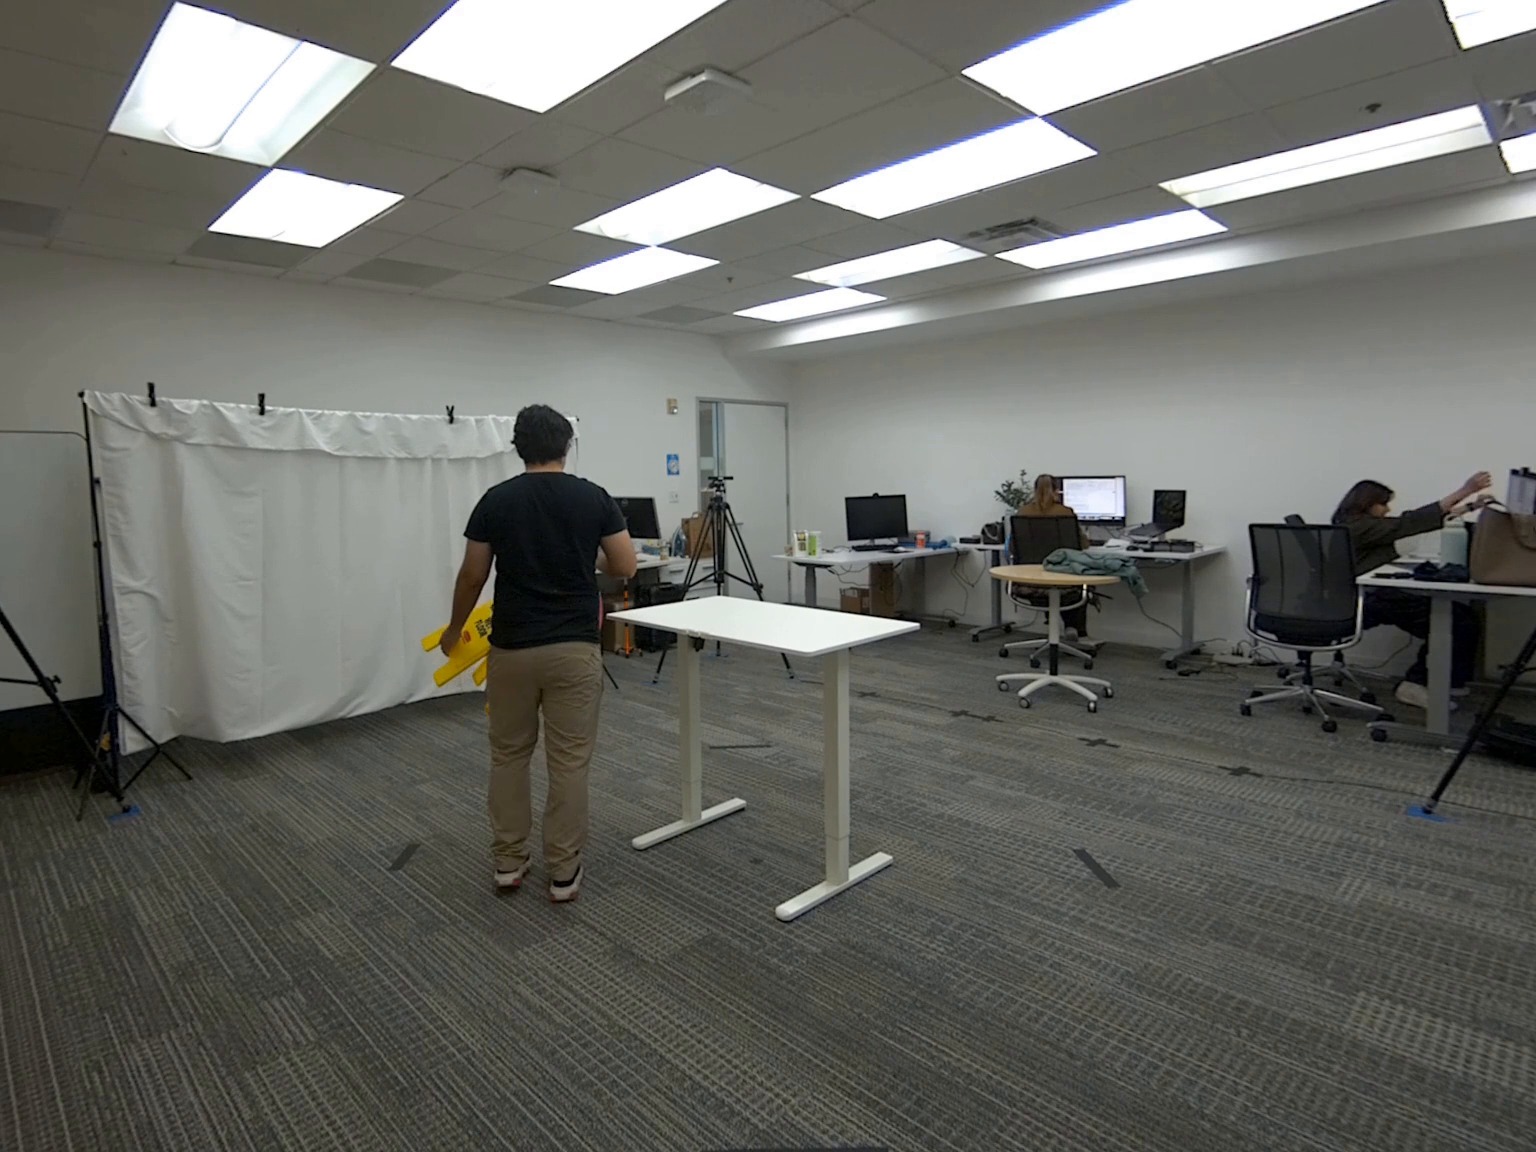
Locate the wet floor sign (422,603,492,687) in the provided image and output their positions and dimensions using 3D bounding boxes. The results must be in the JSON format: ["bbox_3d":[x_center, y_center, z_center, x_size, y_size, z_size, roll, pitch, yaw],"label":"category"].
[{"bbox_3d":[-0.922,0.172,3.199,0.646,0.278,0.293,-38,43,-1],"label":"wet floor sign"}]
